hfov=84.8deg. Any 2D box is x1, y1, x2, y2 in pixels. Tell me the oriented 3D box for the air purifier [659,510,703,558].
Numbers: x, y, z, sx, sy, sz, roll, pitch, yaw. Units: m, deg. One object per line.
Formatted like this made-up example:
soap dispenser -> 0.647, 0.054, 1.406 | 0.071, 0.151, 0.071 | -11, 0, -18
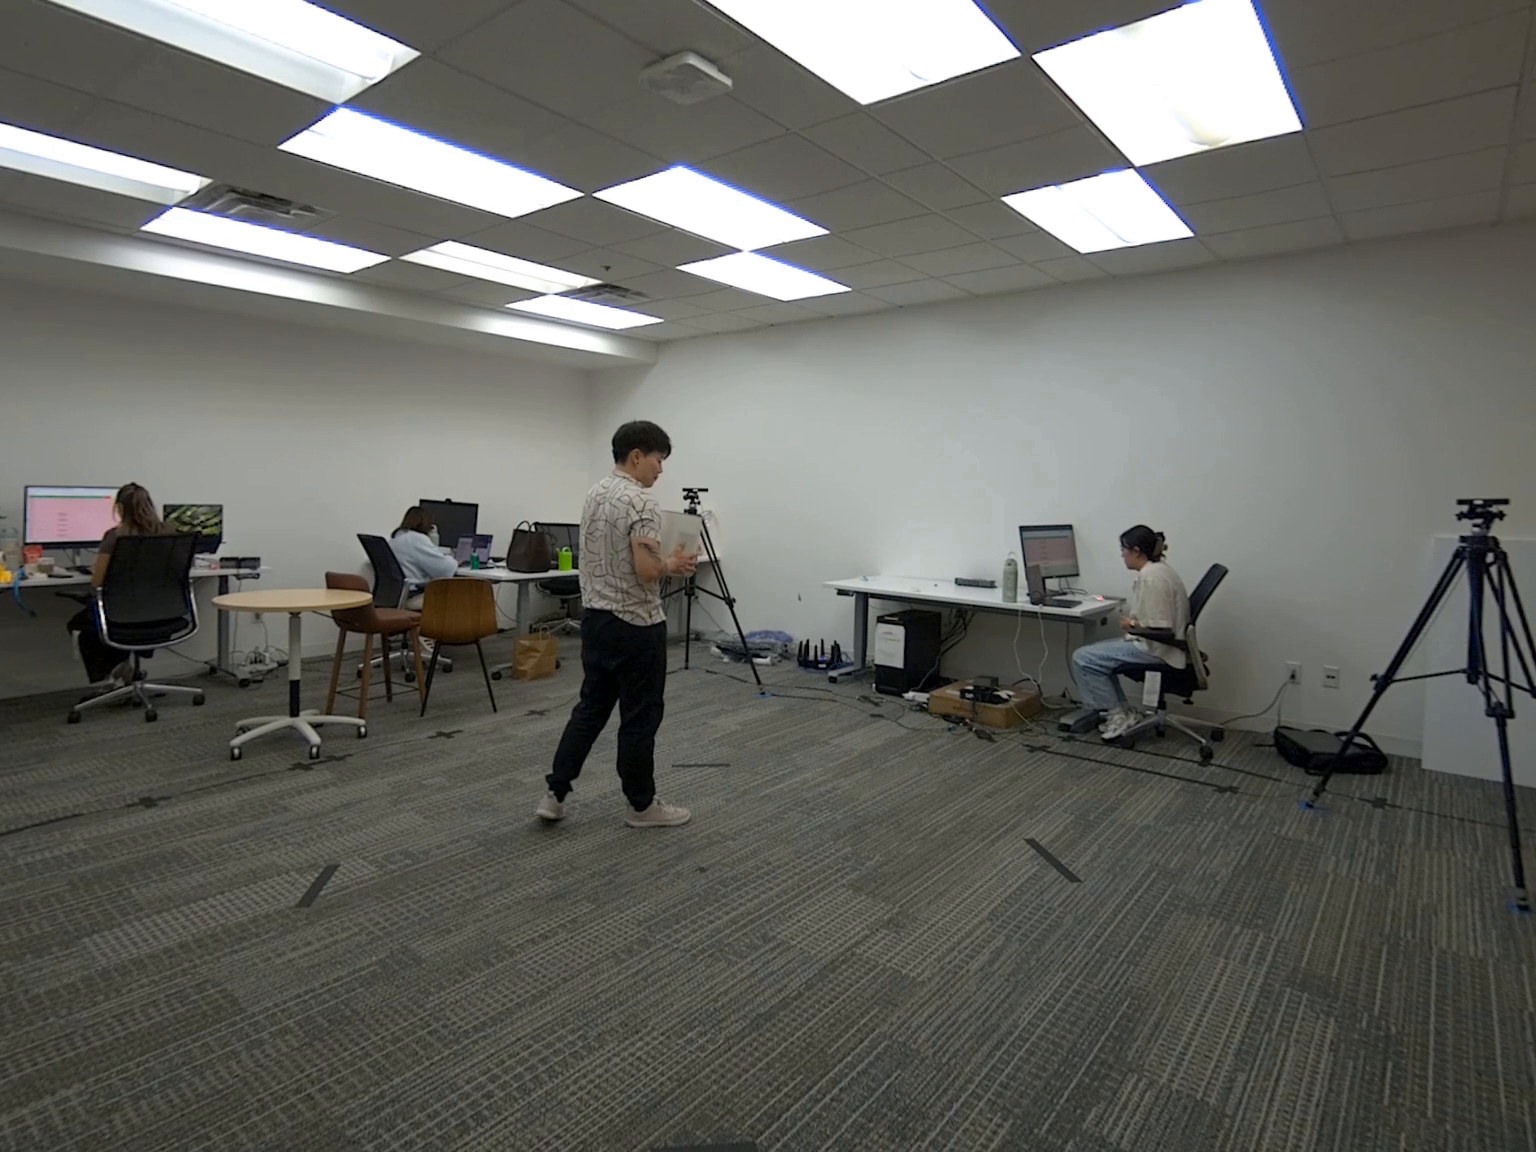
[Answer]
air purifier -> -0.414, -0.138, 3.623 | 0.165, 0.265, 0.178 | 9, 0, -39
